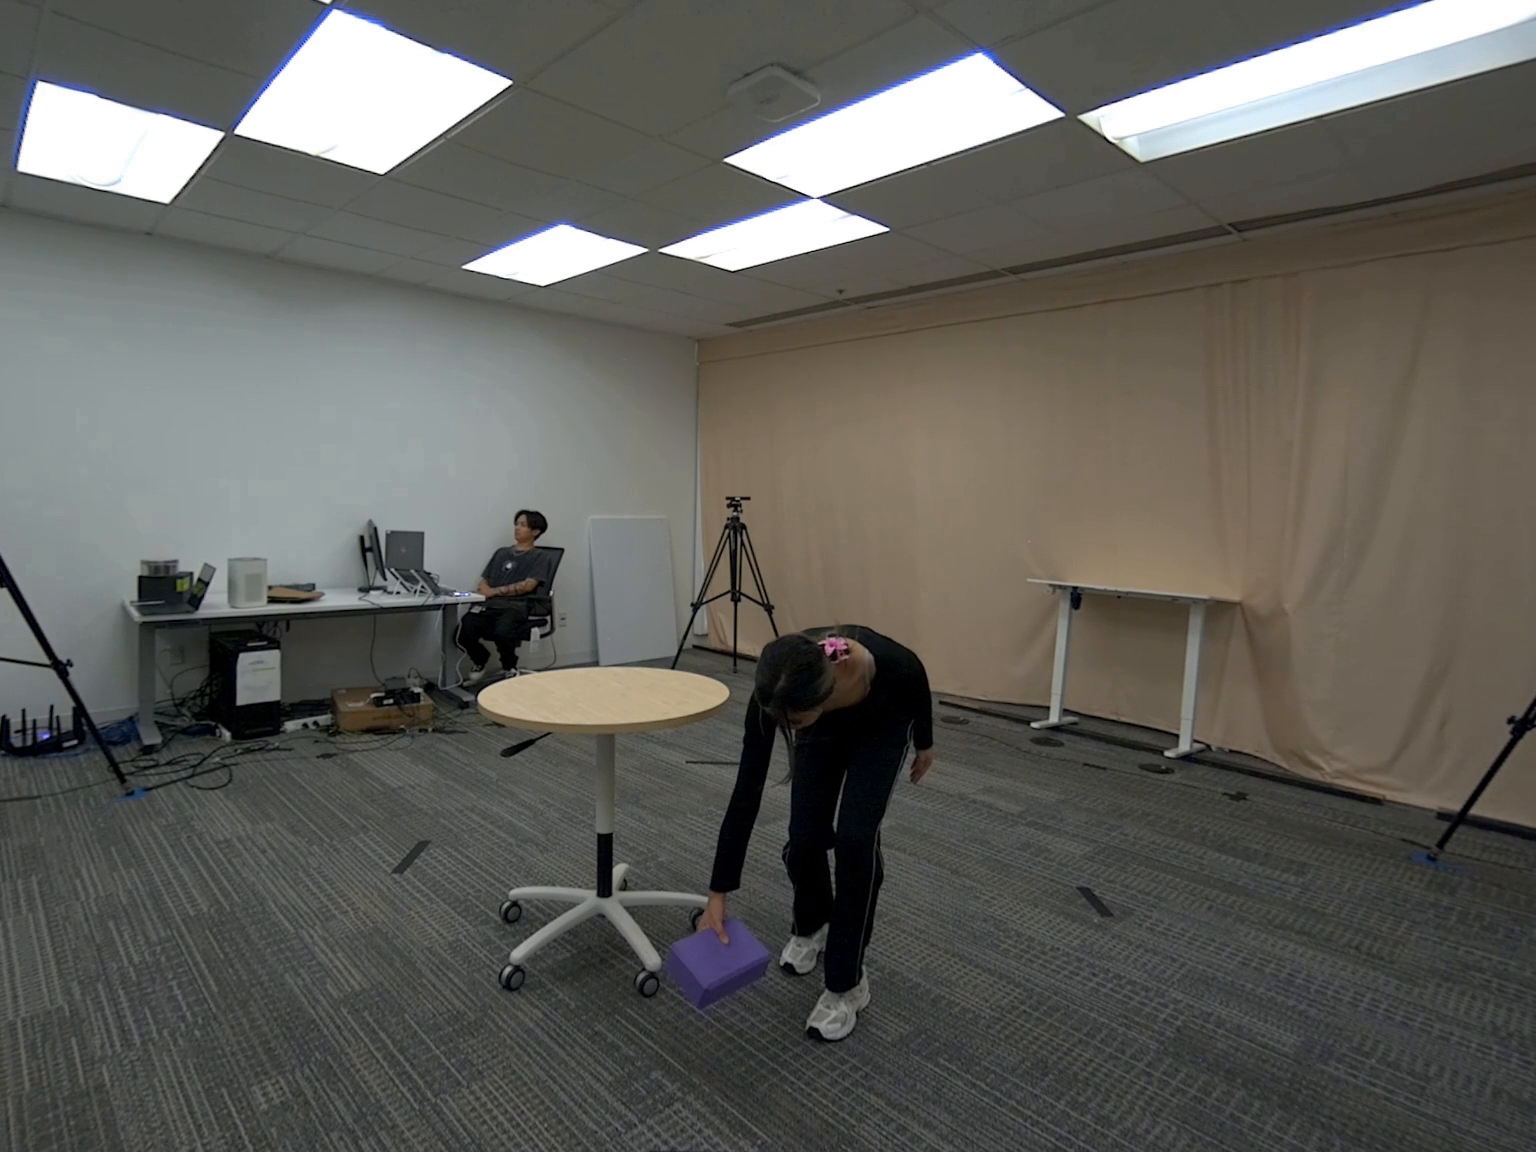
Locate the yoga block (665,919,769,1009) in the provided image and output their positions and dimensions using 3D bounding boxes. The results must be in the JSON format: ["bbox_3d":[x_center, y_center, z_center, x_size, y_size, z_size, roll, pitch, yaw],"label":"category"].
[{"bbox_3d":[-0.122,0.956,2.060,0.153,0.076,0.225,25,20,34],"label":"yoga block"}]
